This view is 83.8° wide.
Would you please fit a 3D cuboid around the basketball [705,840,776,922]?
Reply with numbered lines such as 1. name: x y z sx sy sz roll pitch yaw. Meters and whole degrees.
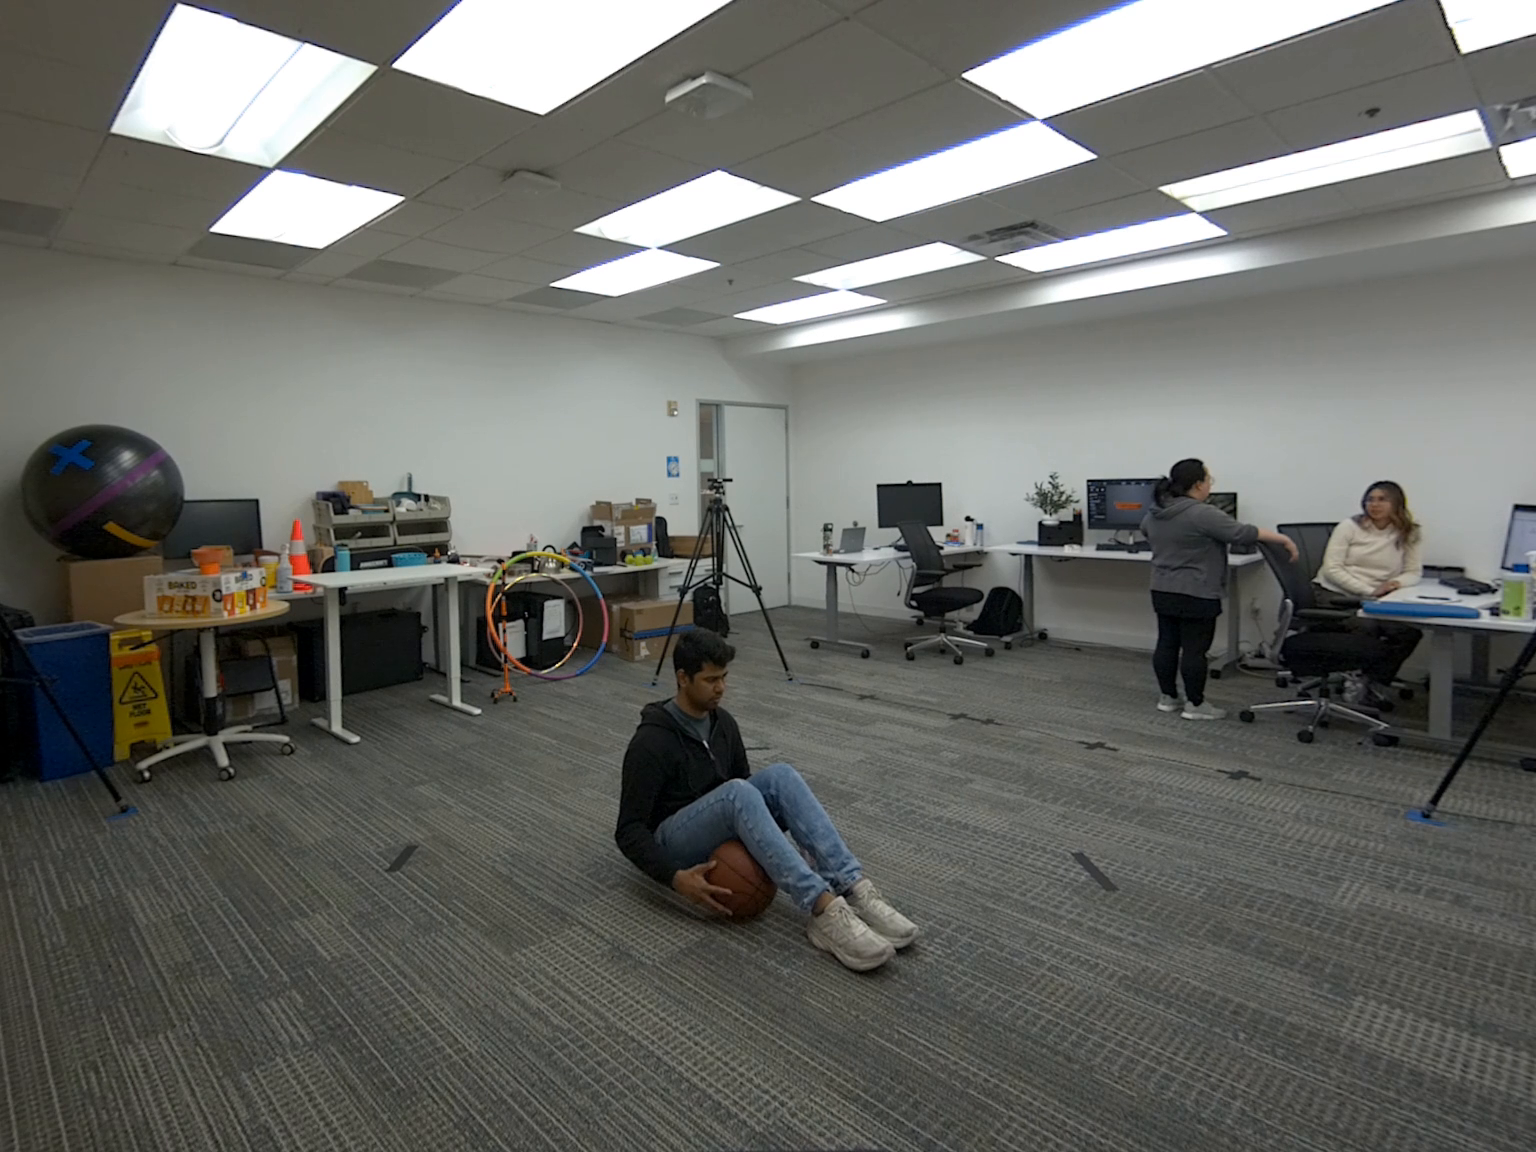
1. basketball: -0.086 0.967 2.749 0.236 0.235 0.237 -1 5 -2
